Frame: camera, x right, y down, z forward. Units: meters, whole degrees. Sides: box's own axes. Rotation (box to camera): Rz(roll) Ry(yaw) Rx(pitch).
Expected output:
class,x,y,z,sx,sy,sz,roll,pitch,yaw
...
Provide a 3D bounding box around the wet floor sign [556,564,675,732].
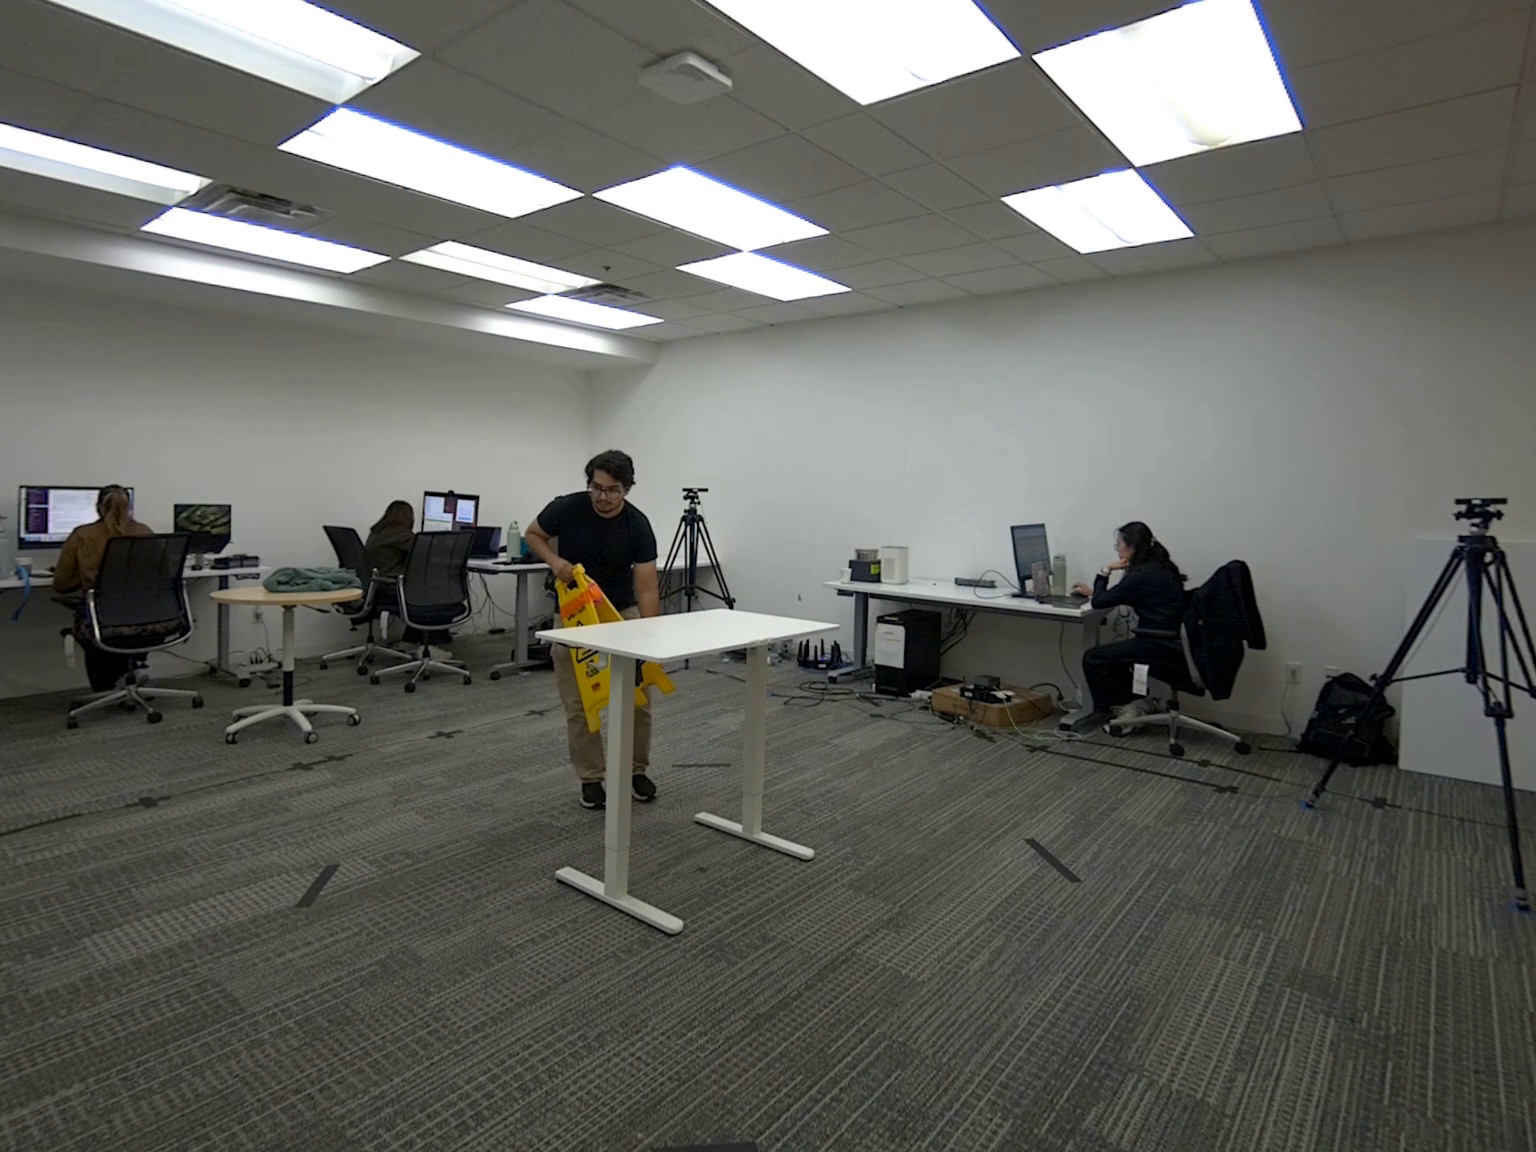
class,x,y,z,sx,sy,sz,roll,pitch,yaw
wet floor sign,-0.714,0.269,3.537,0.285,0.651,0.284,-33,-7,41
